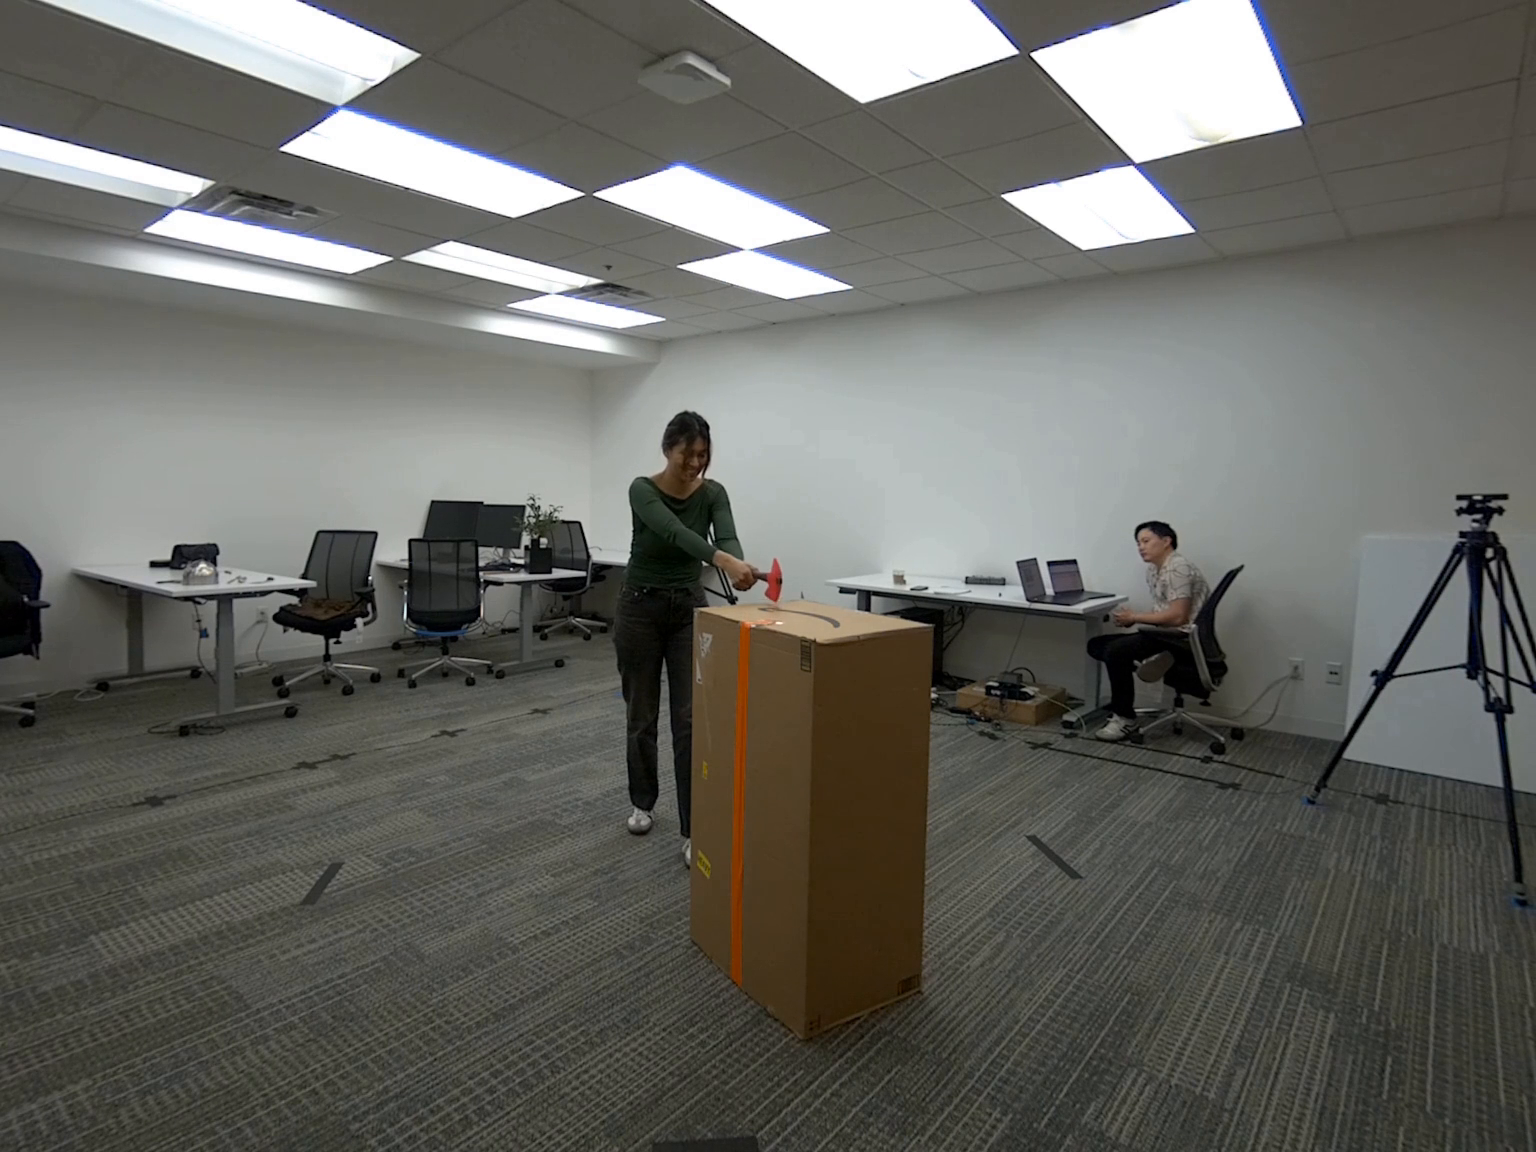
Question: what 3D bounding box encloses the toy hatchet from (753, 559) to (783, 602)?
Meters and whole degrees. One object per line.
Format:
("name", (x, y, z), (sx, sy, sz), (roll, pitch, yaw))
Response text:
("toy hatchet", (-0.038, 0.019, 2.714), (0.029, 0.133, 0.273), (-4, -12, -30))
